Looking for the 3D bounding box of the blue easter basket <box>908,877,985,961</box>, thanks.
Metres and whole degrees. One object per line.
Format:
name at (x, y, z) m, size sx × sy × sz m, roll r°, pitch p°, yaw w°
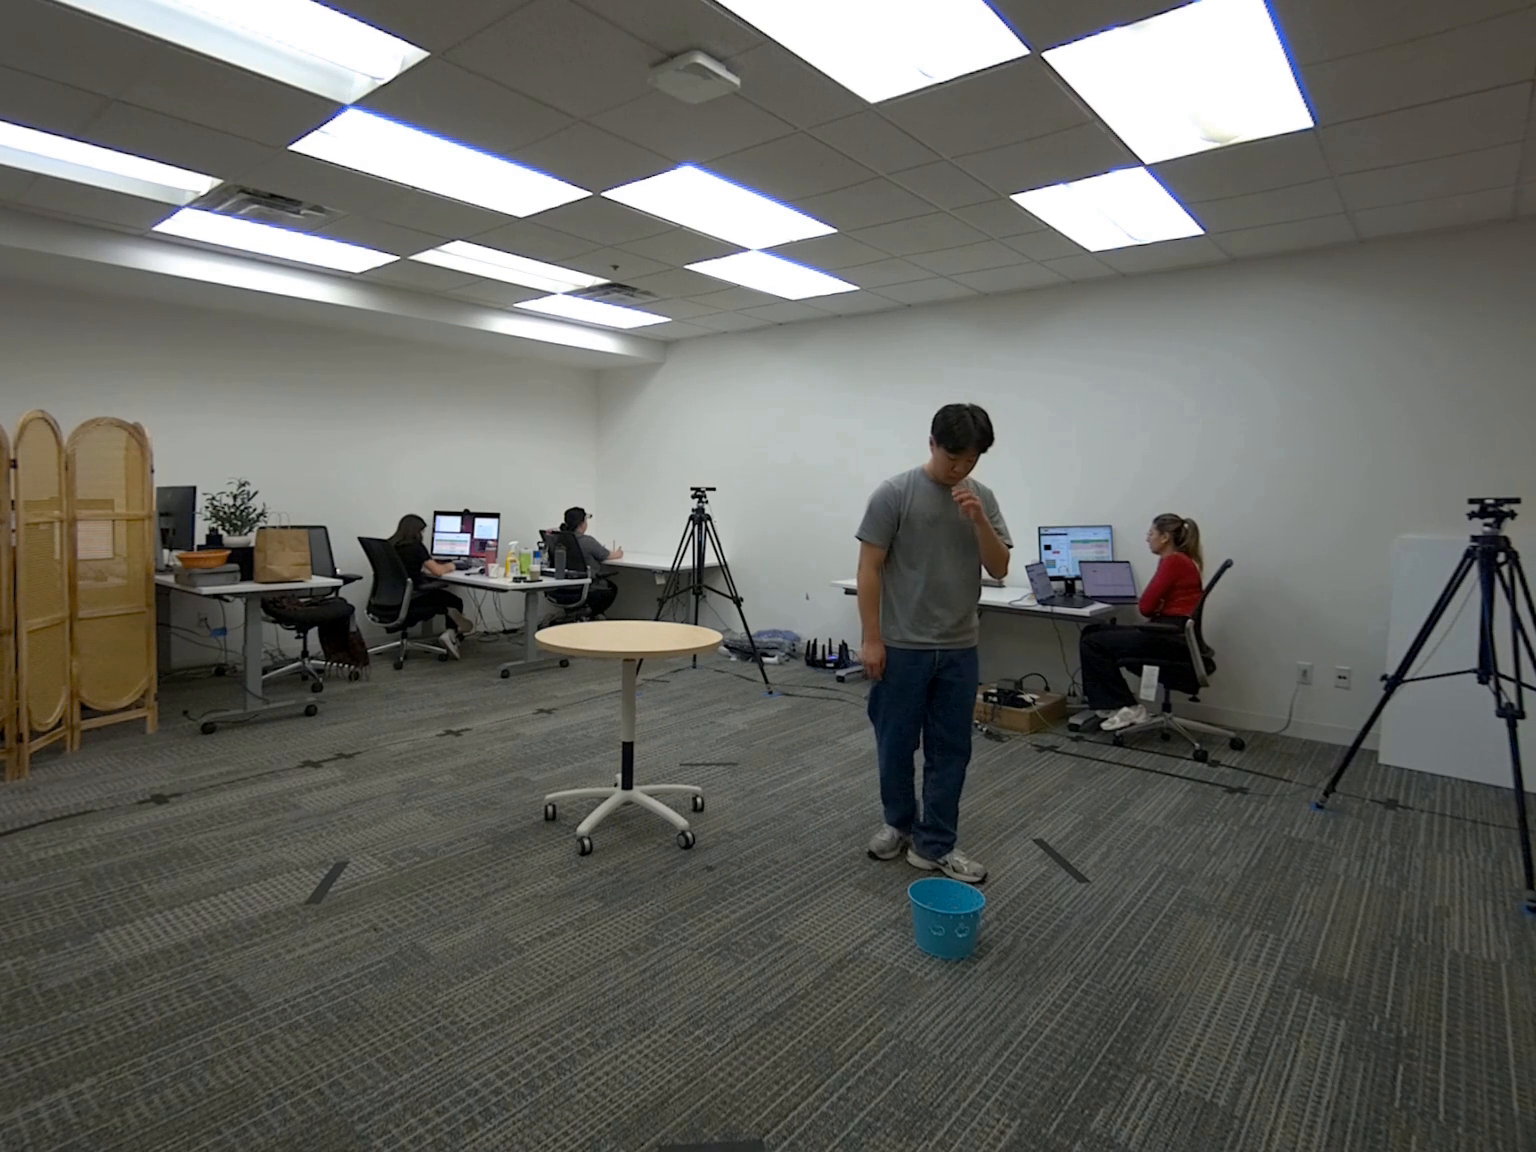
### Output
blue easter basket at (0.543, 1.052, 2.629) m, size 0.243 × 0.155 × 0.245 m, roll 1°, pitch 5°, yaw -2°
